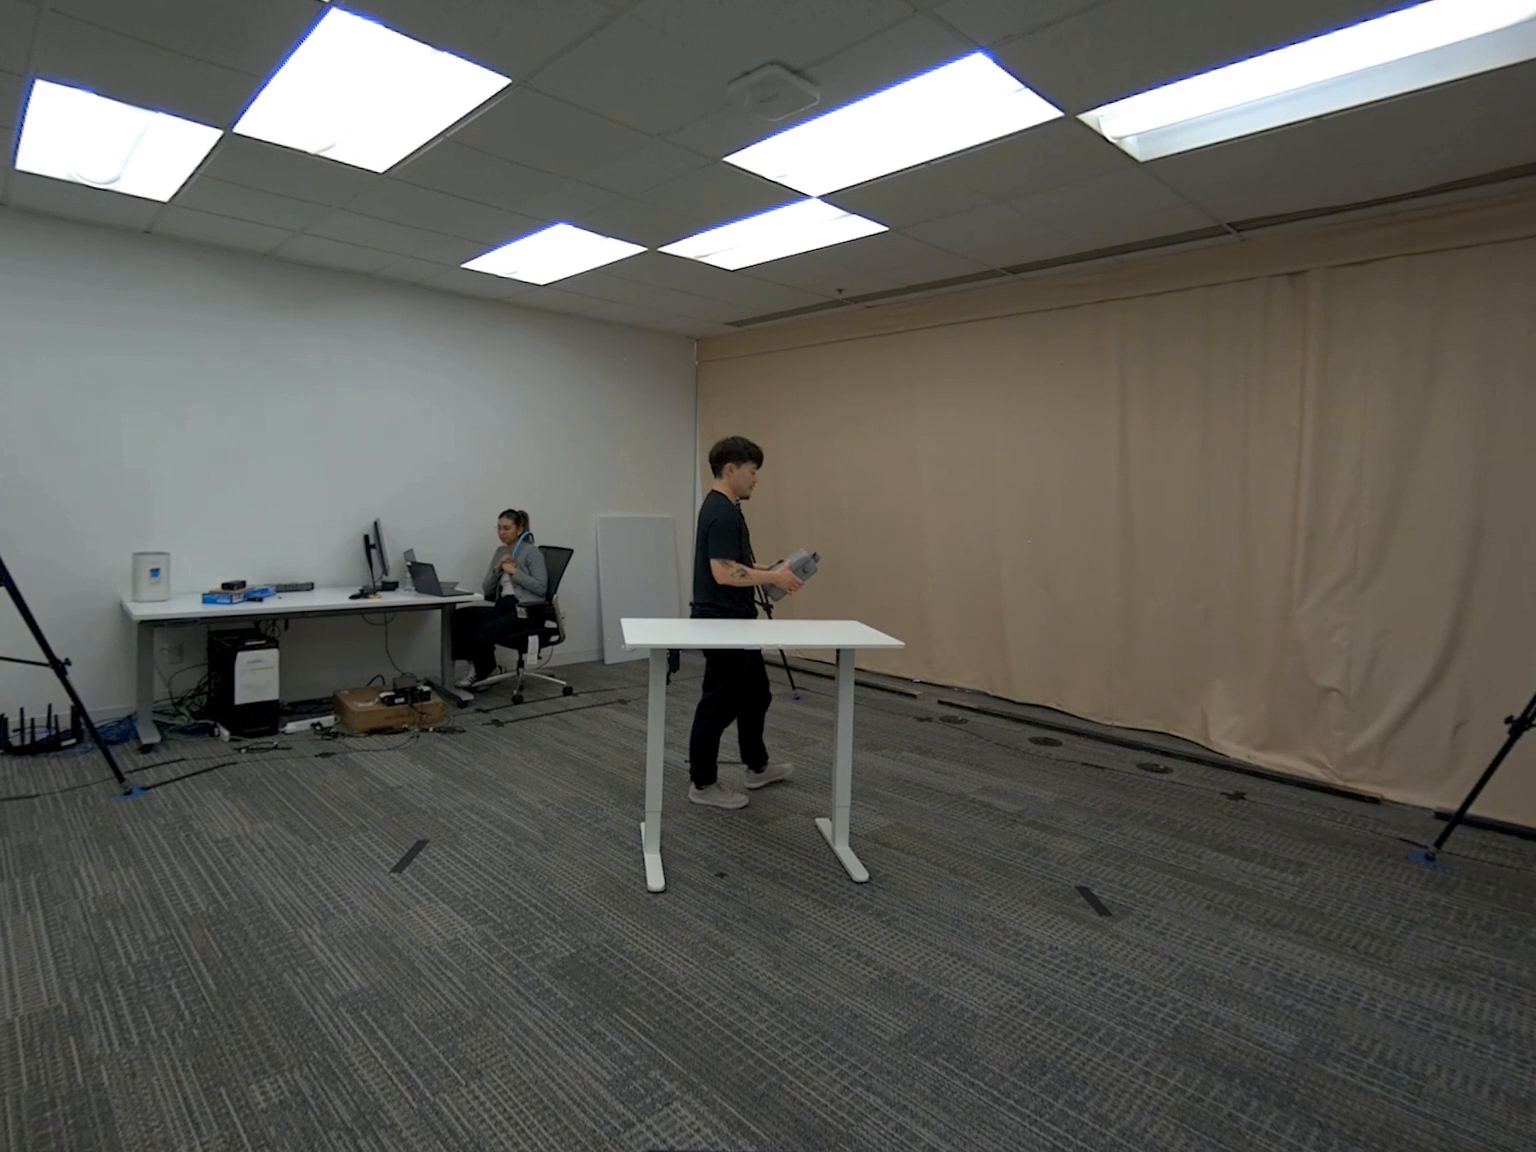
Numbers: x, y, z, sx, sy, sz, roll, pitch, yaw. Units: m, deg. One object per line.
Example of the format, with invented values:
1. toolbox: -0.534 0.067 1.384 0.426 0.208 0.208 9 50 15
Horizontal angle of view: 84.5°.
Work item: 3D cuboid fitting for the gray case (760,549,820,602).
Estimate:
1. gray case: 0.093 -0.015 3.811 0.261 0.104 0.258 -36 7 7
